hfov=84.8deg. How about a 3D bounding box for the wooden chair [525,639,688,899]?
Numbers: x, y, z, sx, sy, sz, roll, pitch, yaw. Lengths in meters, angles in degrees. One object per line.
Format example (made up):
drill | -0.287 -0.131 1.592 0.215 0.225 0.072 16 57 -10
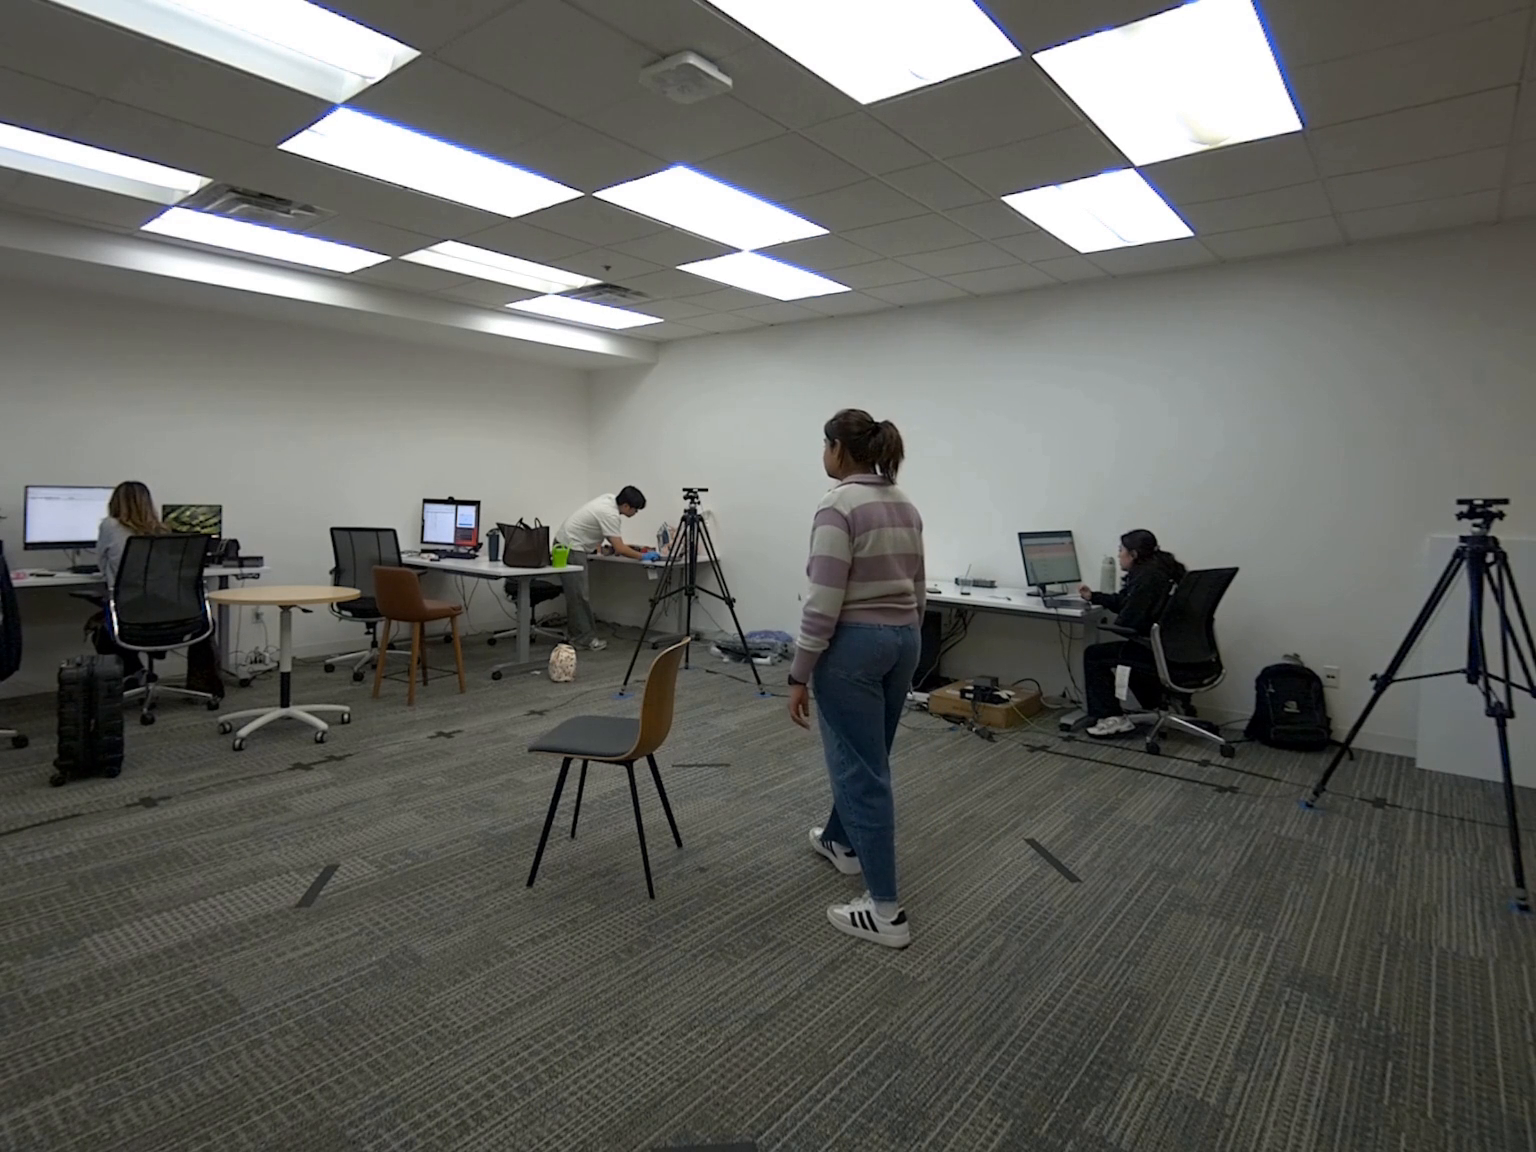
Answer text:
wooden chair | -0.594 0.637 3.102 0.529 0.875 0.474 6 4 8
